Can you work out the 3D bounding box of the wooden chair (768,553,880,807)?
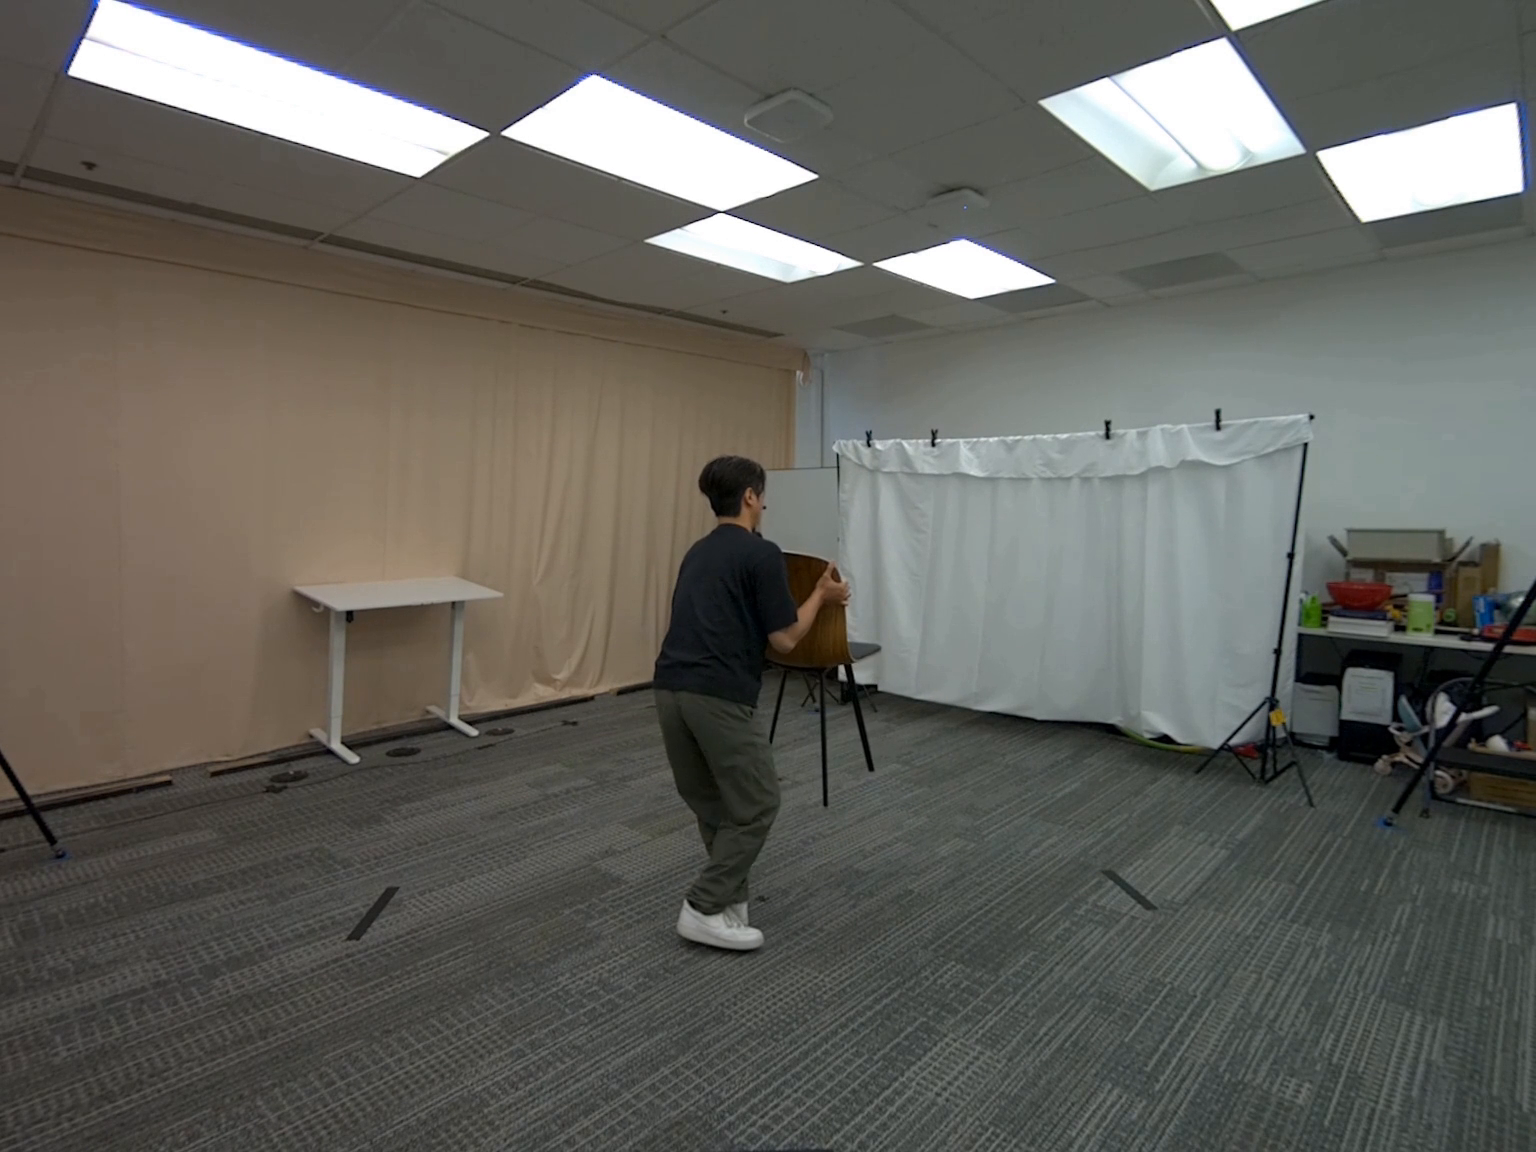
[{"bbox_3d":[0.141,0.315,3.082,0.492,0.873,0.511,6,10,28],"label":"wooden chair"}]
